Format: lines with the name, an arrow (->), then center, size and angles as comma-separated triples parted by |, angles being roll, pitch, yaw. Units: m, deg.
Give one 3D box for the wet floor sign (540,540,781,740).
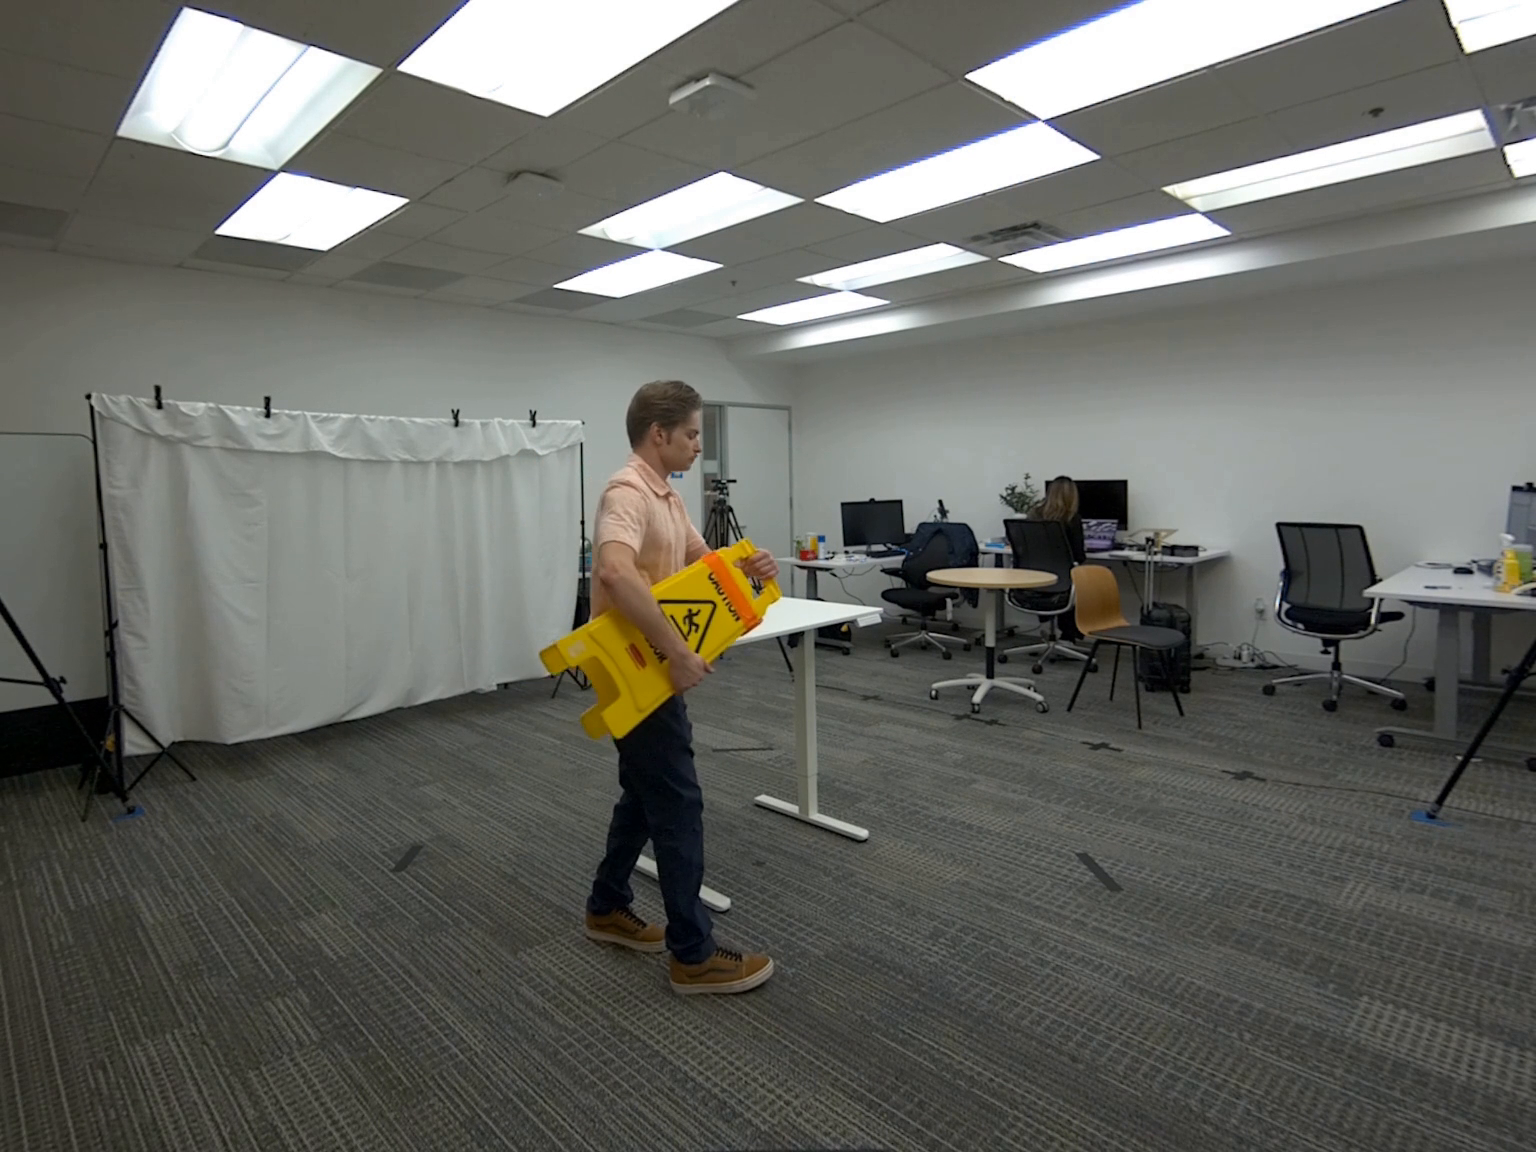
wet floor sign -> -0.246, 0.141, 2.287 | 0.641, 0.282, 0.292 | -34, 2, -23
